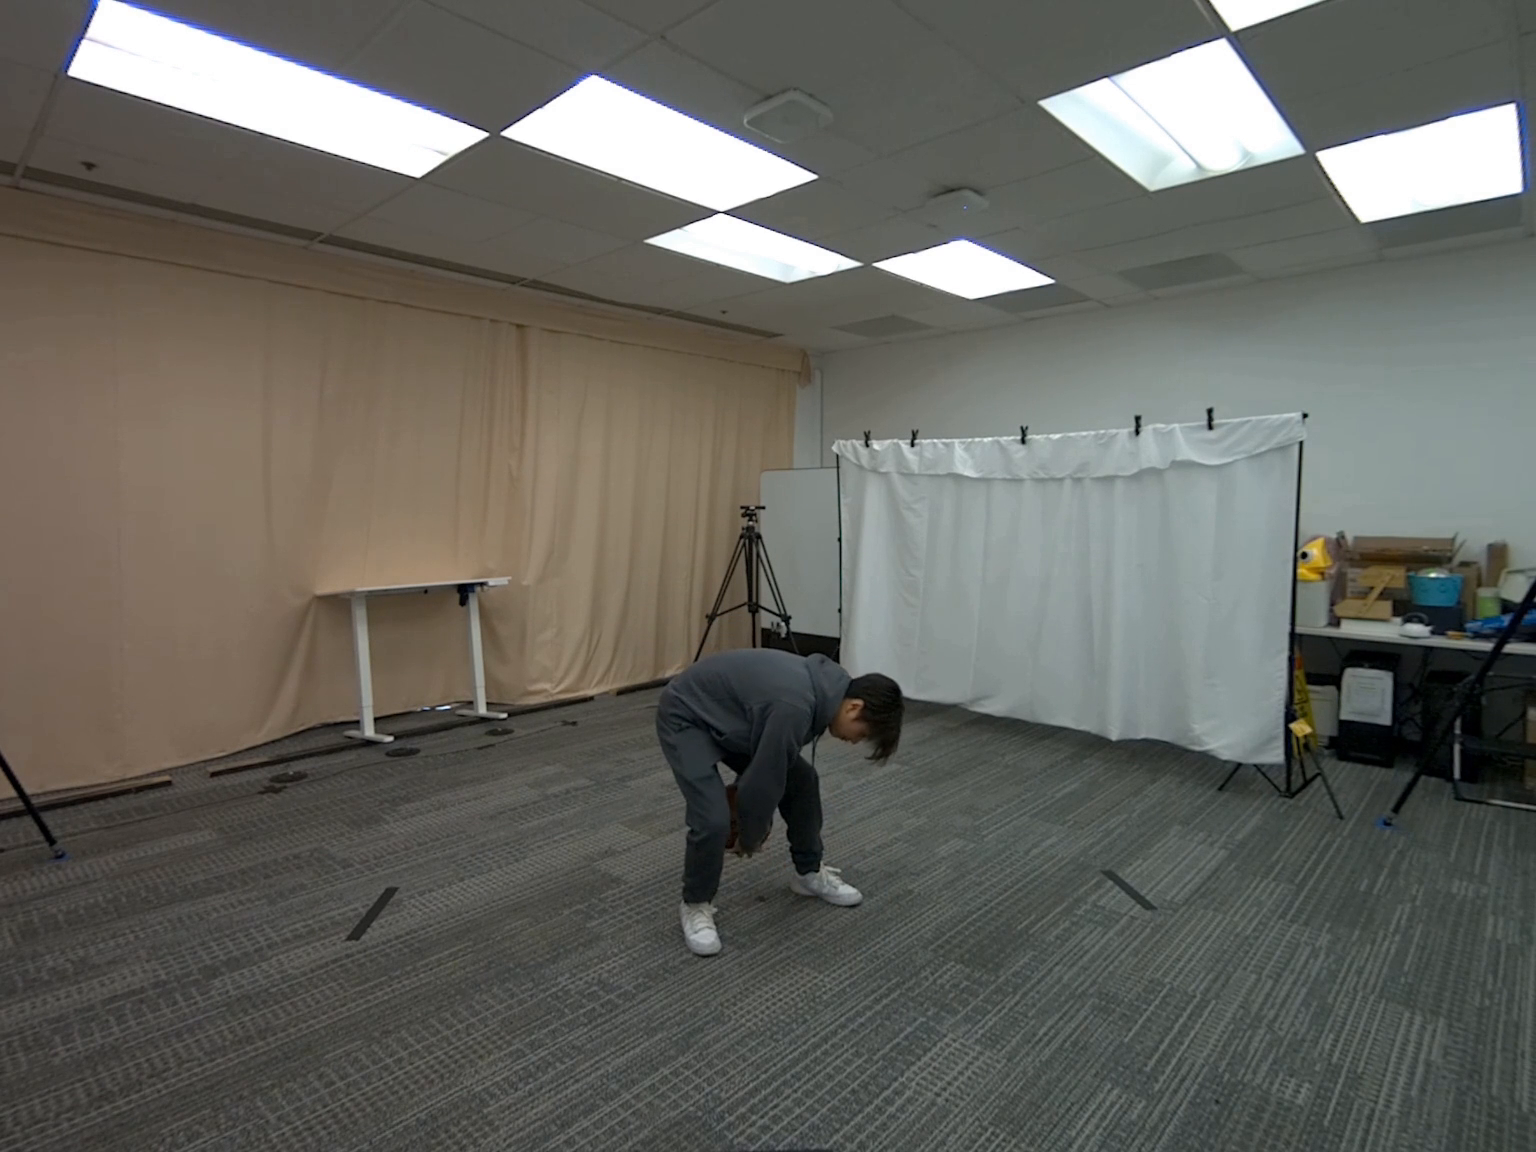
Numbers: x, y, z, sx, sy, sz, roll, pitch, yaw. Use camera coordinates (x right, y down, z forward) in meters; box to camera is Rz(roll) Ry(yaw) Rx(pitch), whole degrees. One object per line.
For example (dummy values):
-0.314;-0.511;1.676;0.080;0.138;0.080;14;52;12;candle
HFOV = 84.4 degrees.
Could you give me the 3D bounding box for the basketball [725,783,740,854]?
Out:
-0.094;0.854;2.953;0.236;0.235;0.237;0;4;-2;basketball
